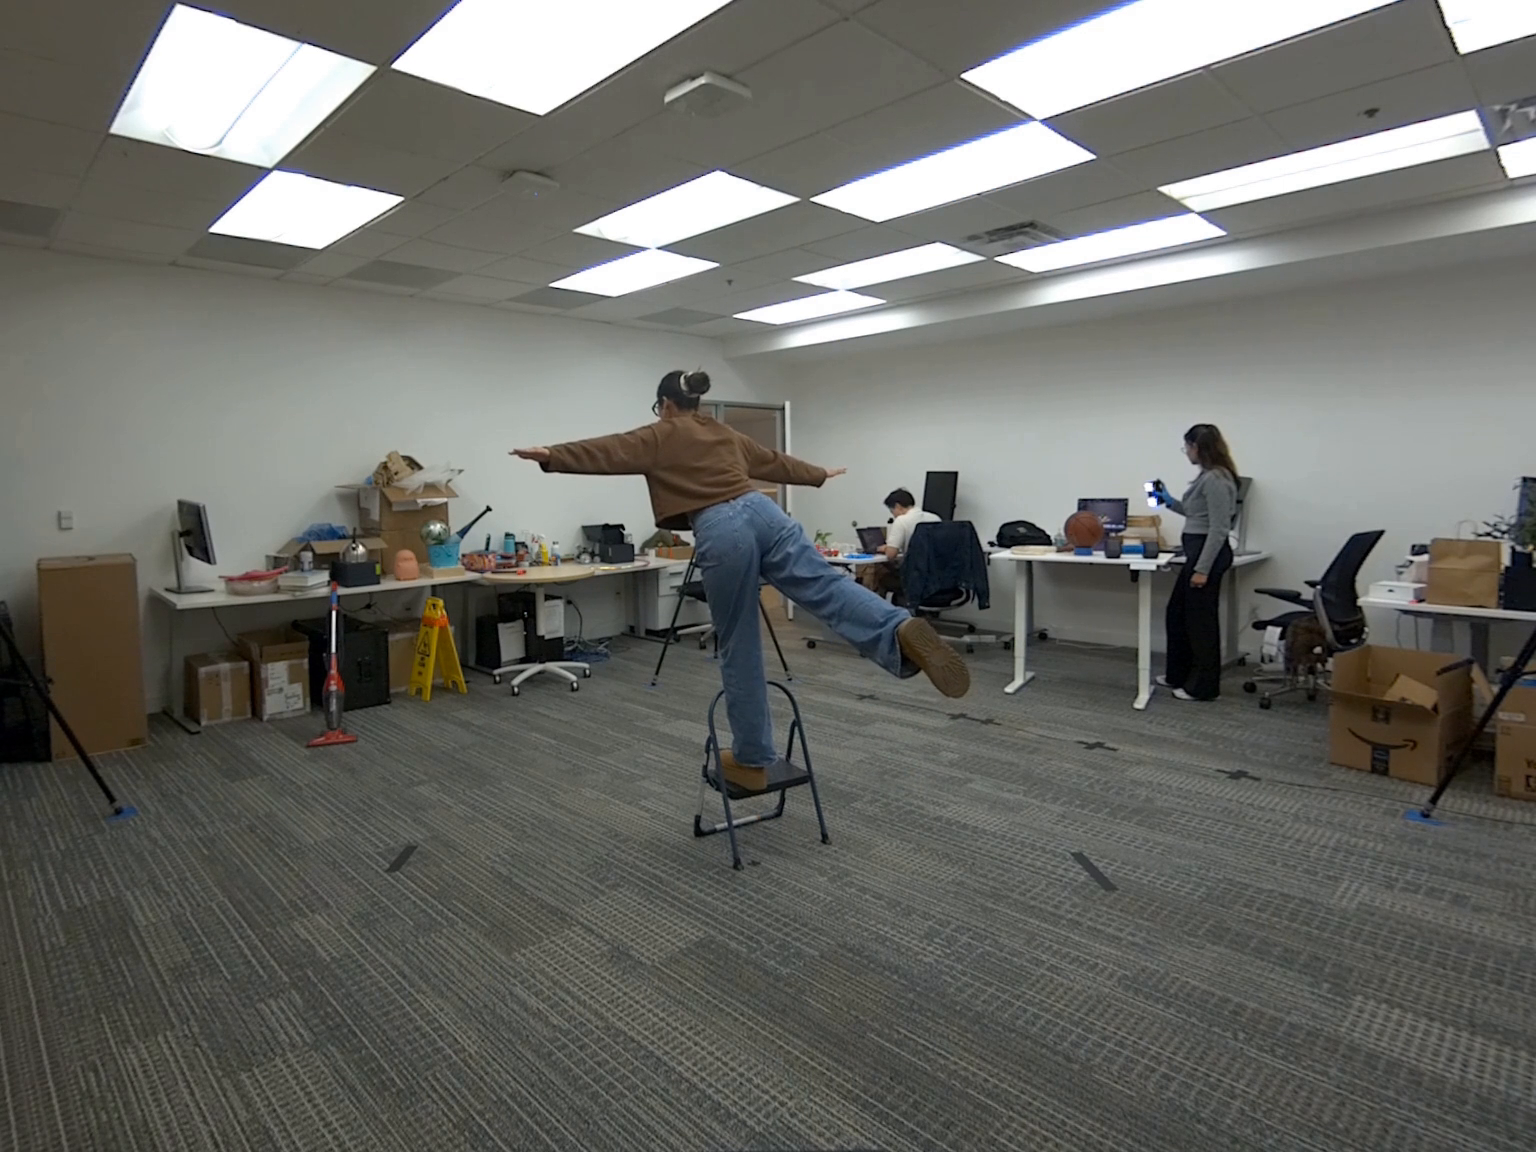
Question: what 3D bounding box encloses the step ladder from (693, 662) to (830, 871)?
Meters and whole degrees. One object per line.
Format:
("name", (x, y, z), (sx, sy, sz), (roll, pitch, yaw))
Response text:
("step ladder", (-0.030, 0.721, 3.292), (0.420, 0.604, 0.359), (-4, 5, -33))
